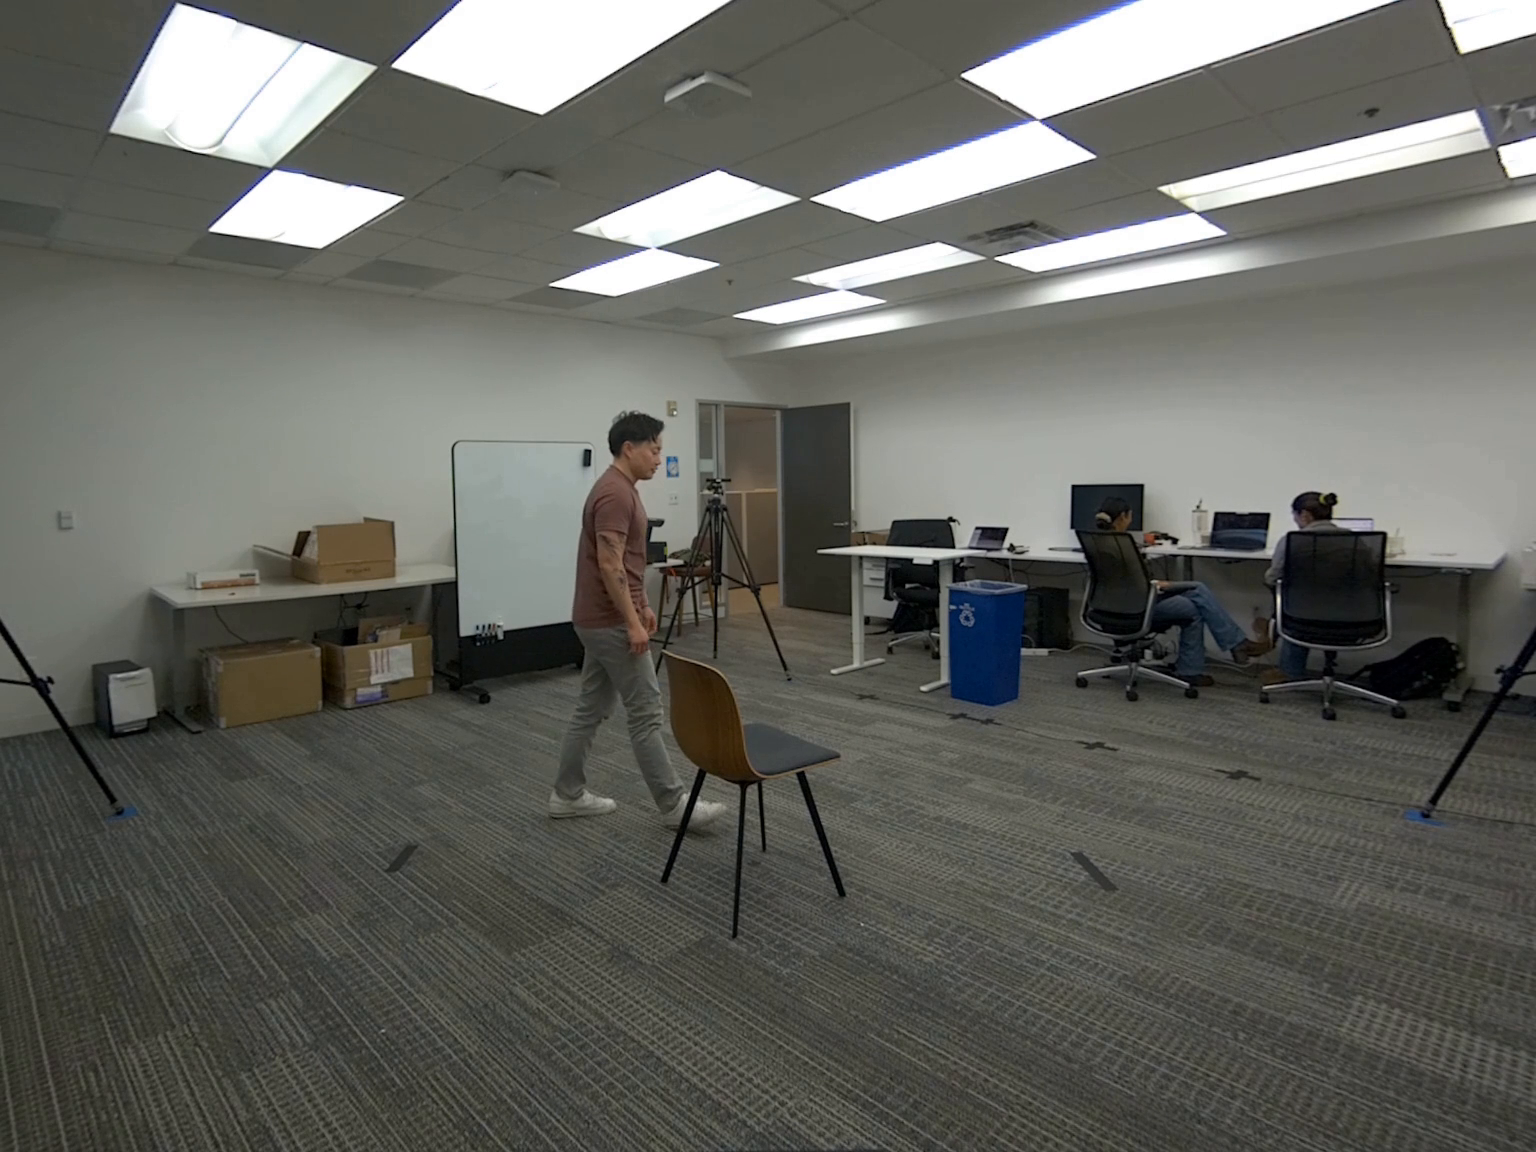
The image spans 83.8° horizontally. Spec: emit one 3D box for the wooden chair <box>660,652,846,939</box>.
[{"bbox_3d":[-0.054,0.644,2.874,0.511,0.872,0.492,-9,8,-35],"label":"wooden chair"}]
